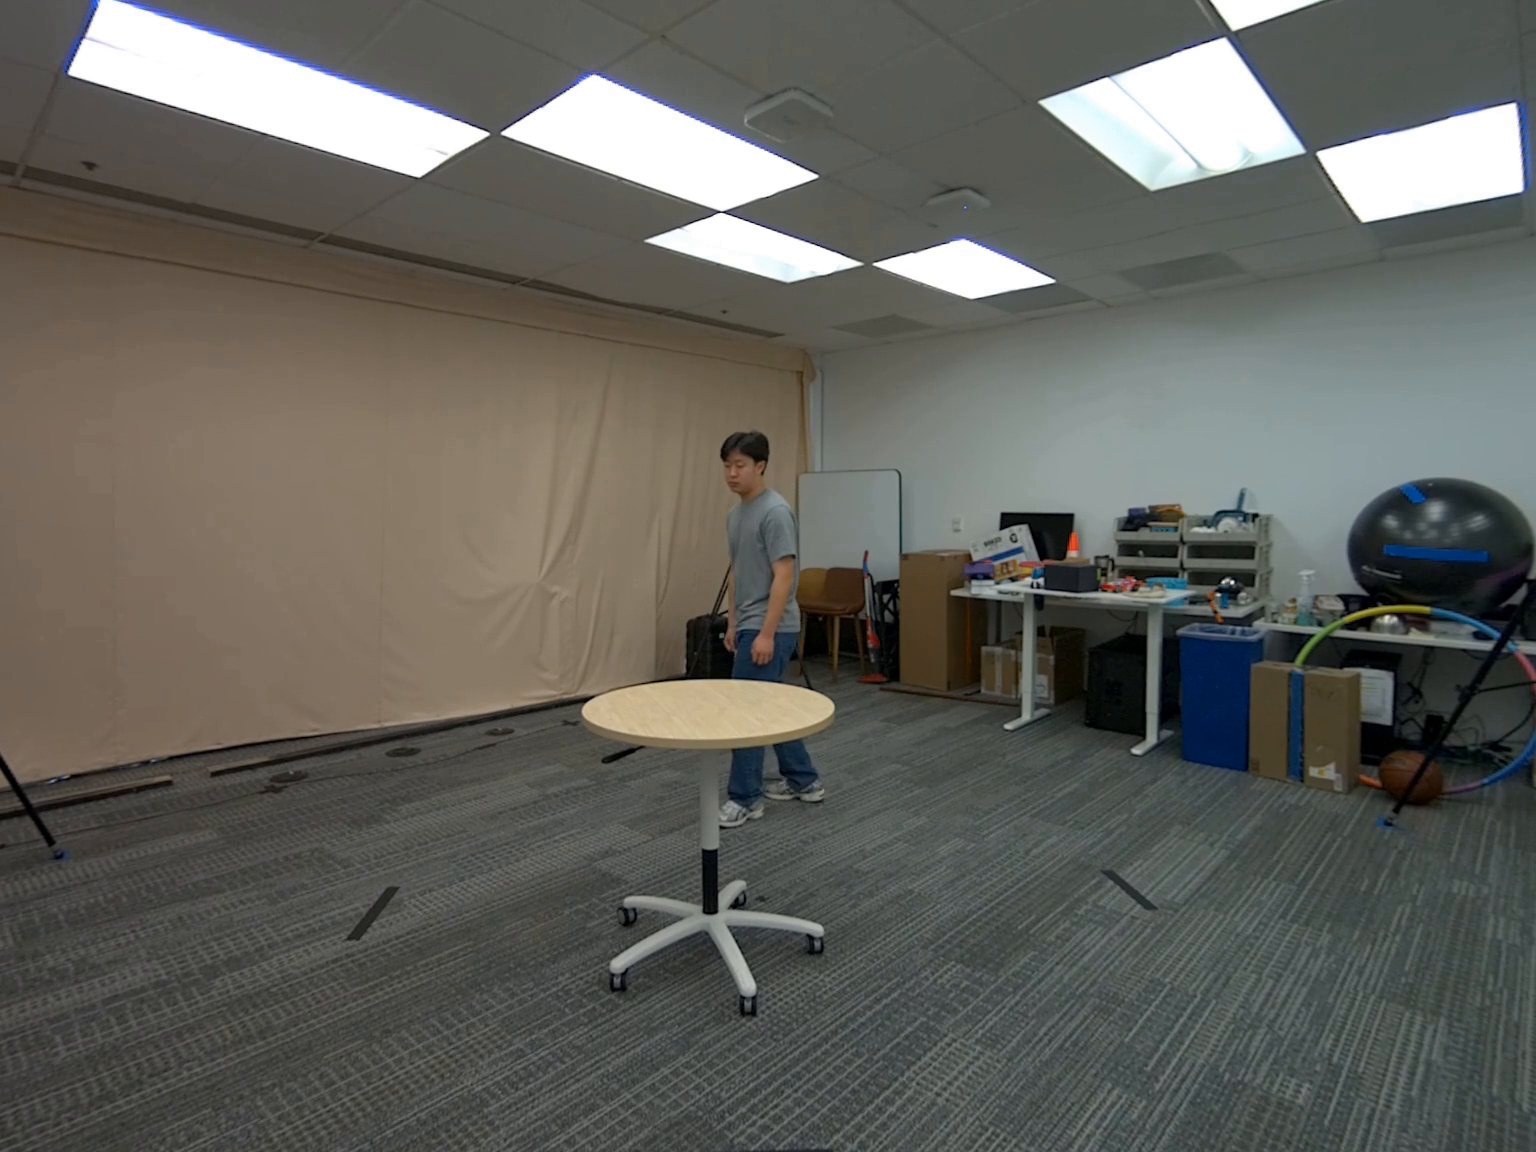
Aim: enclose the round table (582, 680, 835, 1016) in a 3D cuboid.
[{"bbox_3d":[-0.178,0.787,2.586,0.763,0.792,0.767,-1,4,-2],"label":"round table"}]
